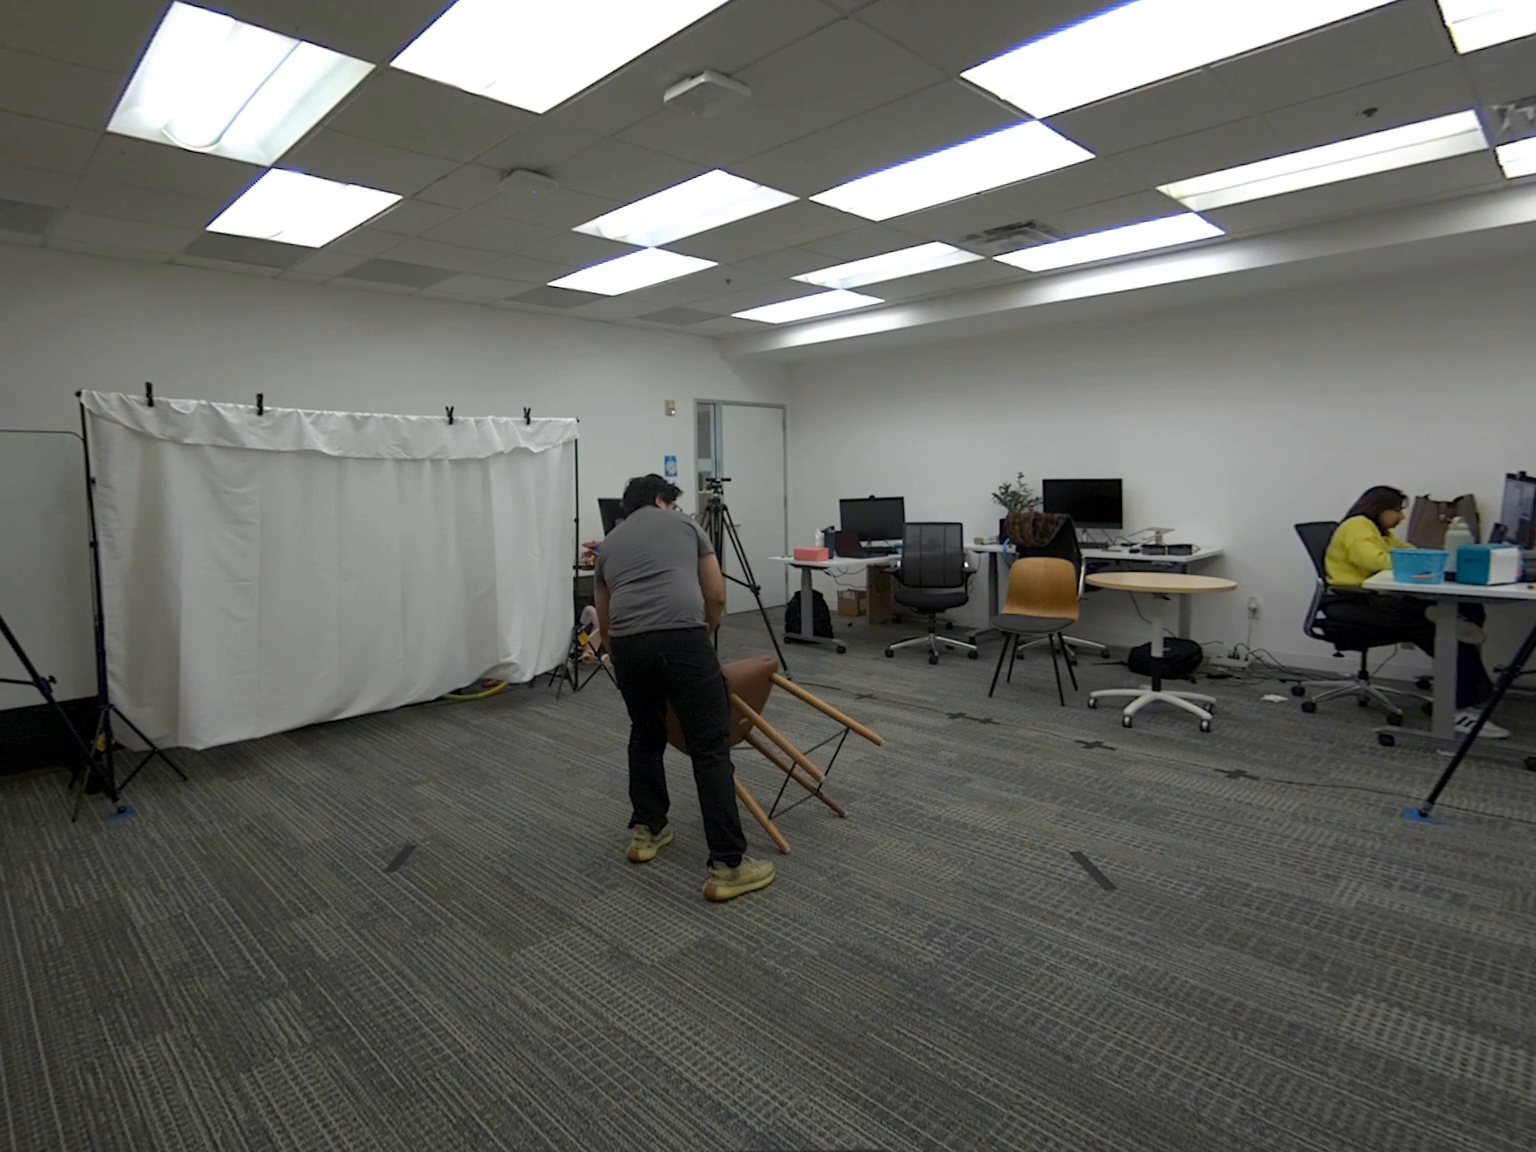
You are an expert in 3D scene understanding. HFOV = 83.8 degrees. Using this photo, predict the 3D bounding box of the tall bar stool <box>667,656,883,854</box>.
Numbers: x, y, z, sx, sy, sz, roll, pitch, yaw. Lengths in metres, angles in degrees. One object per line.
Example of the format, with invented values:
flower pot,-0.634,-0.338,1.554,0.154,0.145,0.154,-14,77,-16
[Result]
tall bar stool,-0.059,0.626,3.498,0.920,0.452,0.457,34,26,29
